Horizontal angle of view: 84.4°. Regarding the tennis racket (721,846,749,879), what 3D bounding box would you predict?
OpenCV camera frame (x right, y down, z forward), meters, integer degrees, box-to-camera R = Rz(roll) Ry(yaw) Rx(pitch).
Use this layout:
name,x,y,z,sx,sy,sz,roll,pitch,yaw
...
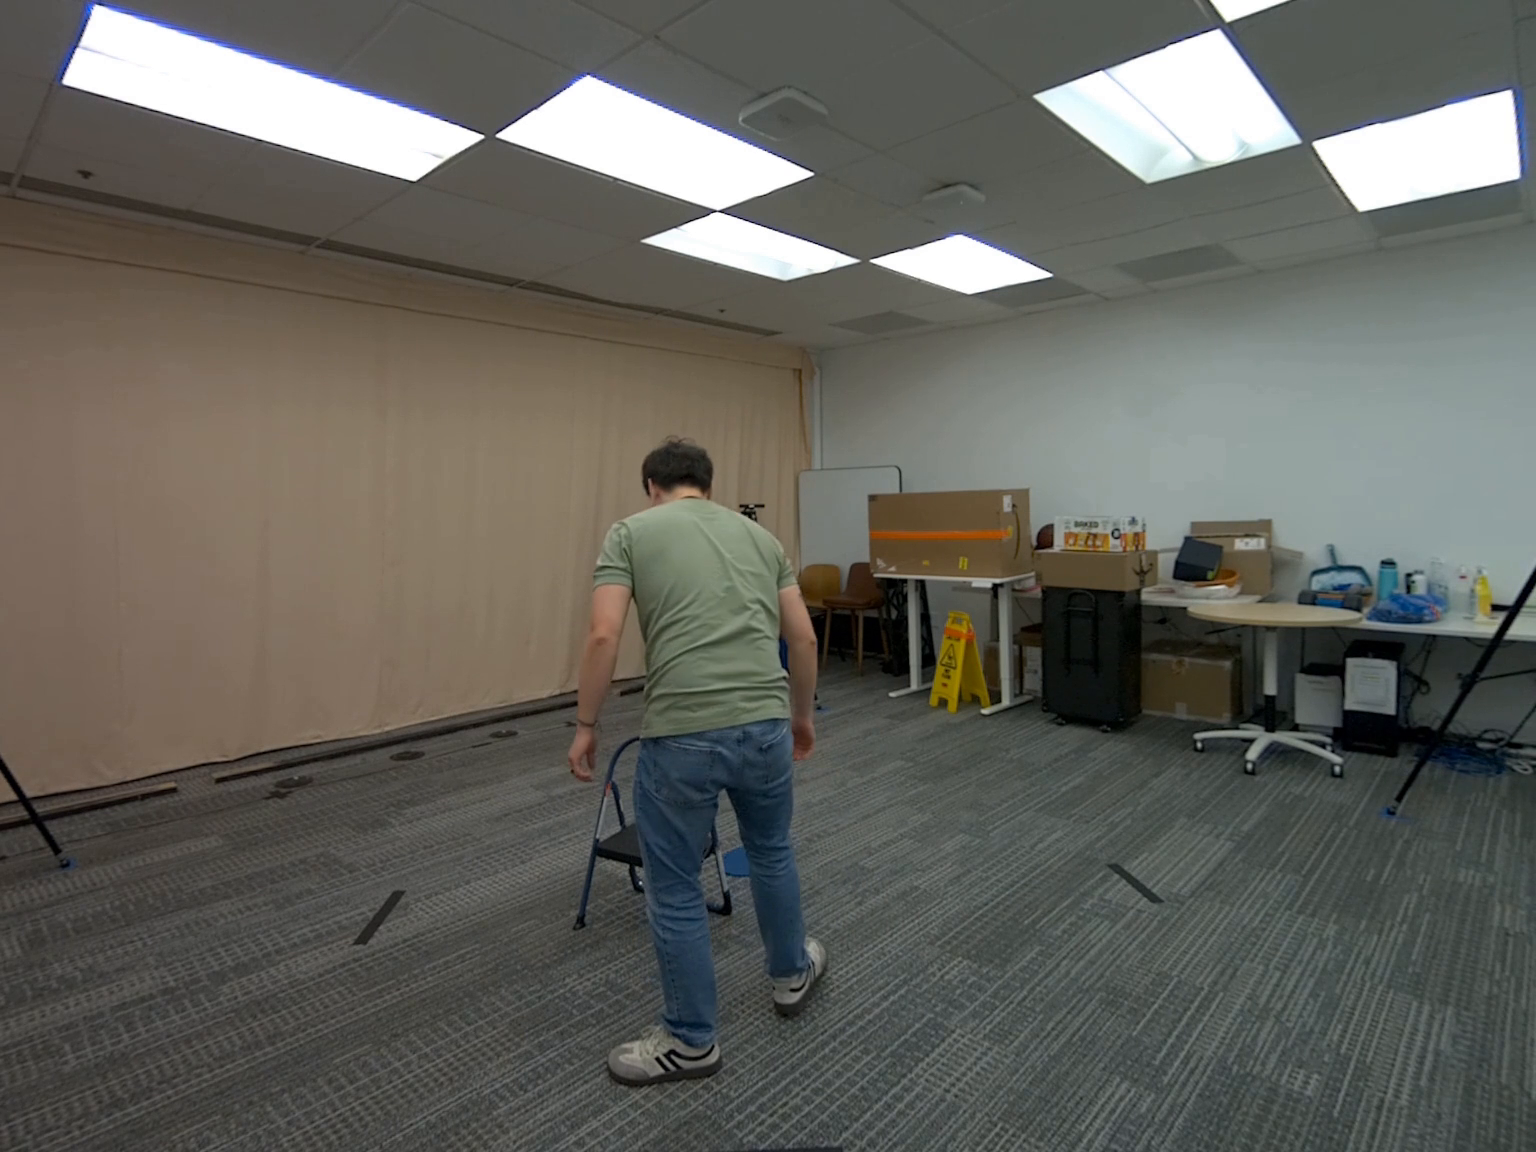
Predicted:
name,x,y,z,sx,sy,sz,roll,pitch,yaw
tennis racket,-0.037,1.094,3.341,0.220,0.031,0.422,2,7,30
